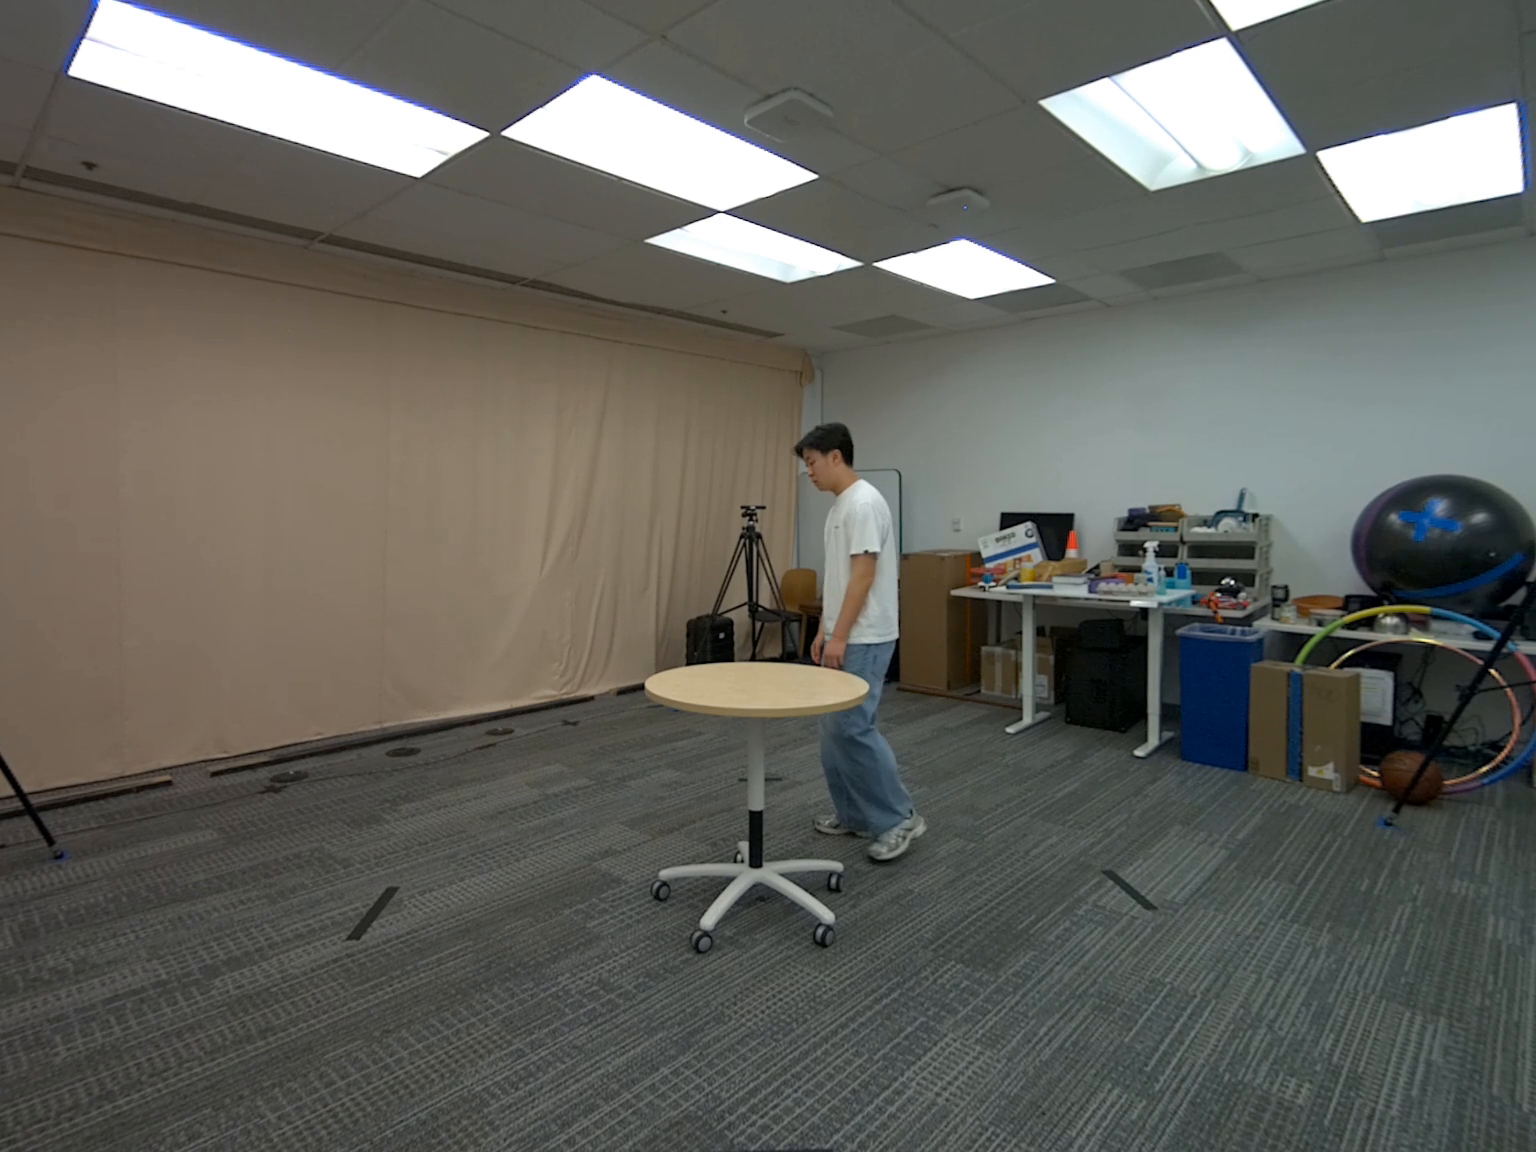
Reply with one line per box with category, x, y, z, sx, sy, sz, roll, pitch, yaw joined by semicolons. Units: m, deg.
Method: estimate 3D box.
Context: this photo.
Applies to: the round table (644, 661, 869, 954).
round table;-0.039;0.761;2.913;0.763;0.792;0.767;0;4;-2
